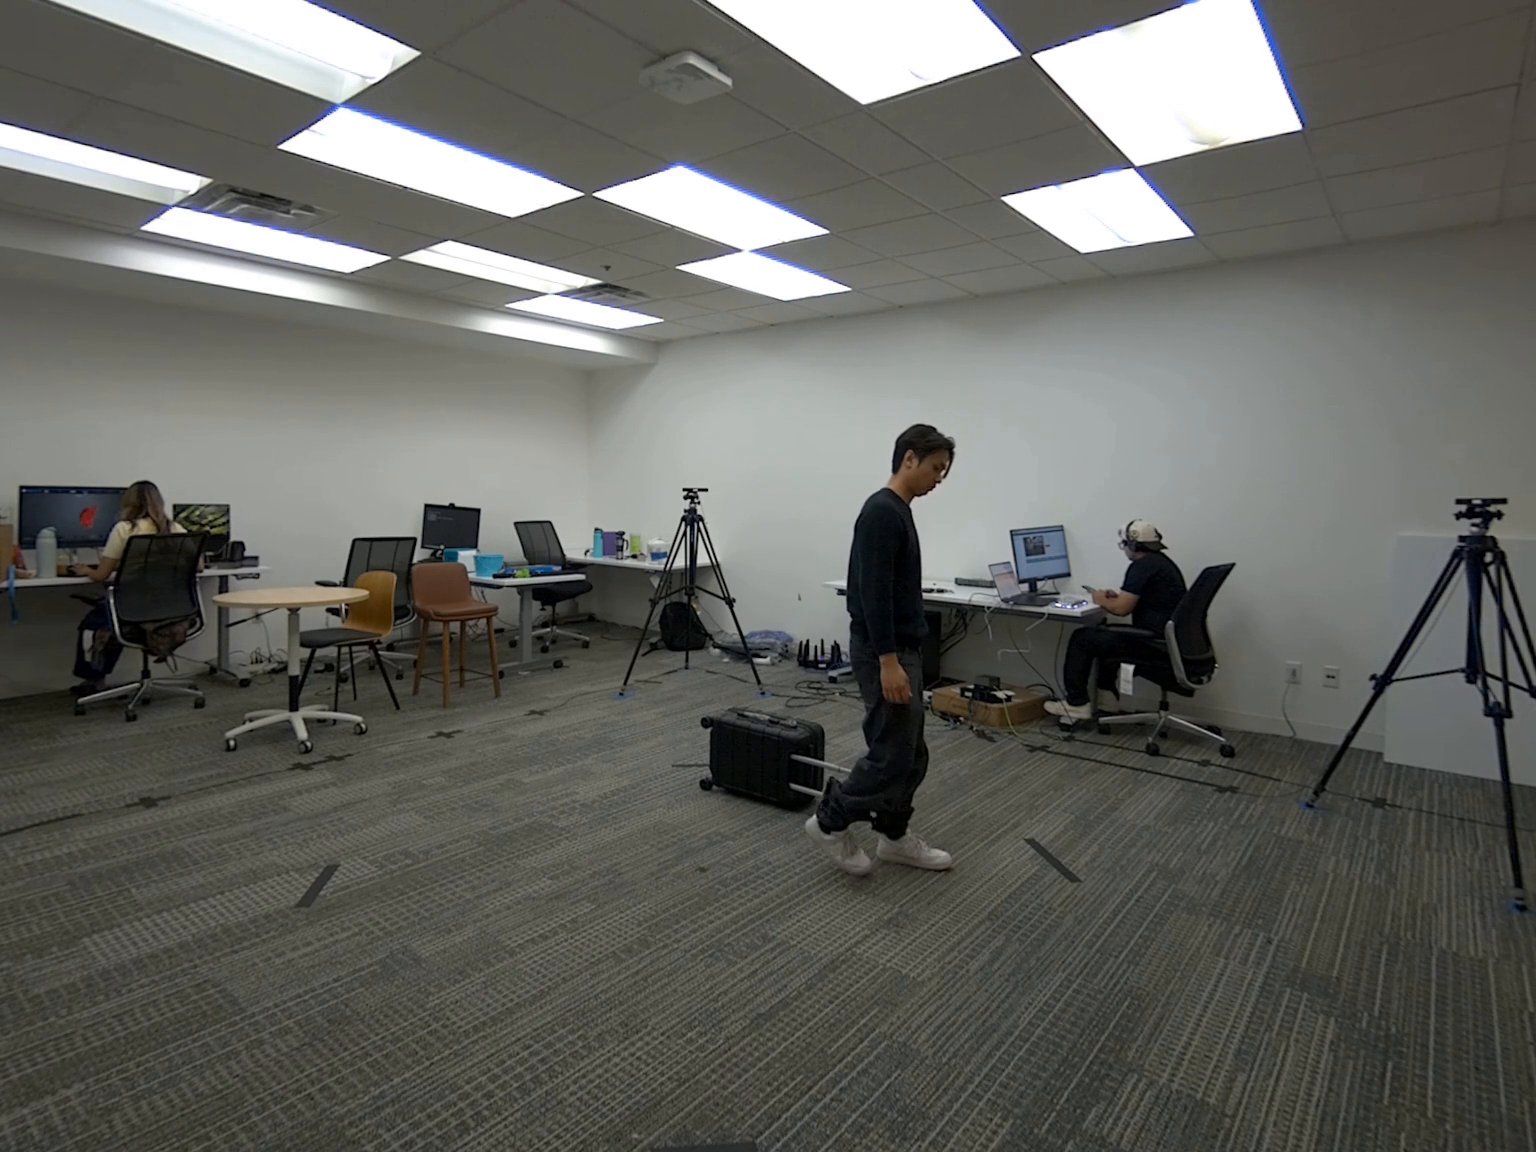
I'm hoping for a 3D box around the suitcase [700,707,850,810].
[{"bbox_3d":[0.143,0.827,3.752,1.010,0.382,0.250,5,5,35],"label":"suitcase"}]
